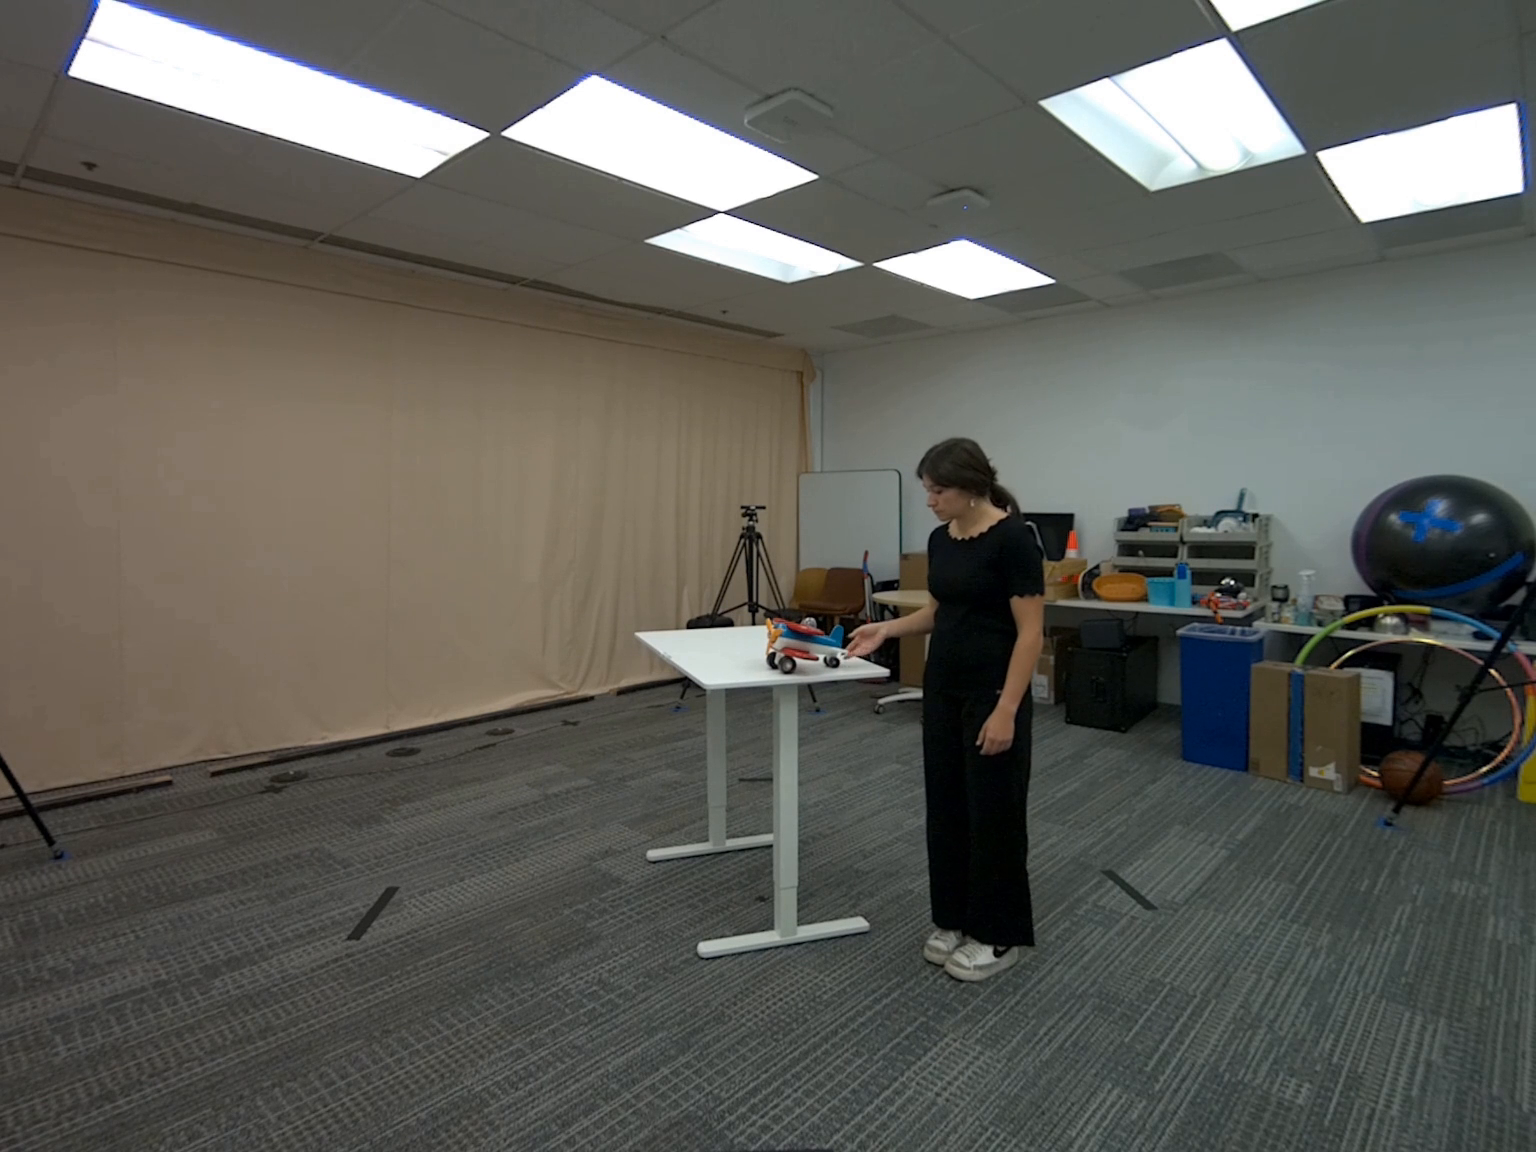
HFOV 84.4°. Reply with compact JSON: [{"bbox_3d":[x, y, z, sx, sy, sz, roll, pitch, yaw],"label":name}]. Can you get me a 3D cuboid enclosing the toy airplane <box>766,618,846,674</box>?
[{"bbox_3d":[0.115,0.215,2.647,0.259,0.156,0.251,5,8,40],"label":"toy airplane"}]
